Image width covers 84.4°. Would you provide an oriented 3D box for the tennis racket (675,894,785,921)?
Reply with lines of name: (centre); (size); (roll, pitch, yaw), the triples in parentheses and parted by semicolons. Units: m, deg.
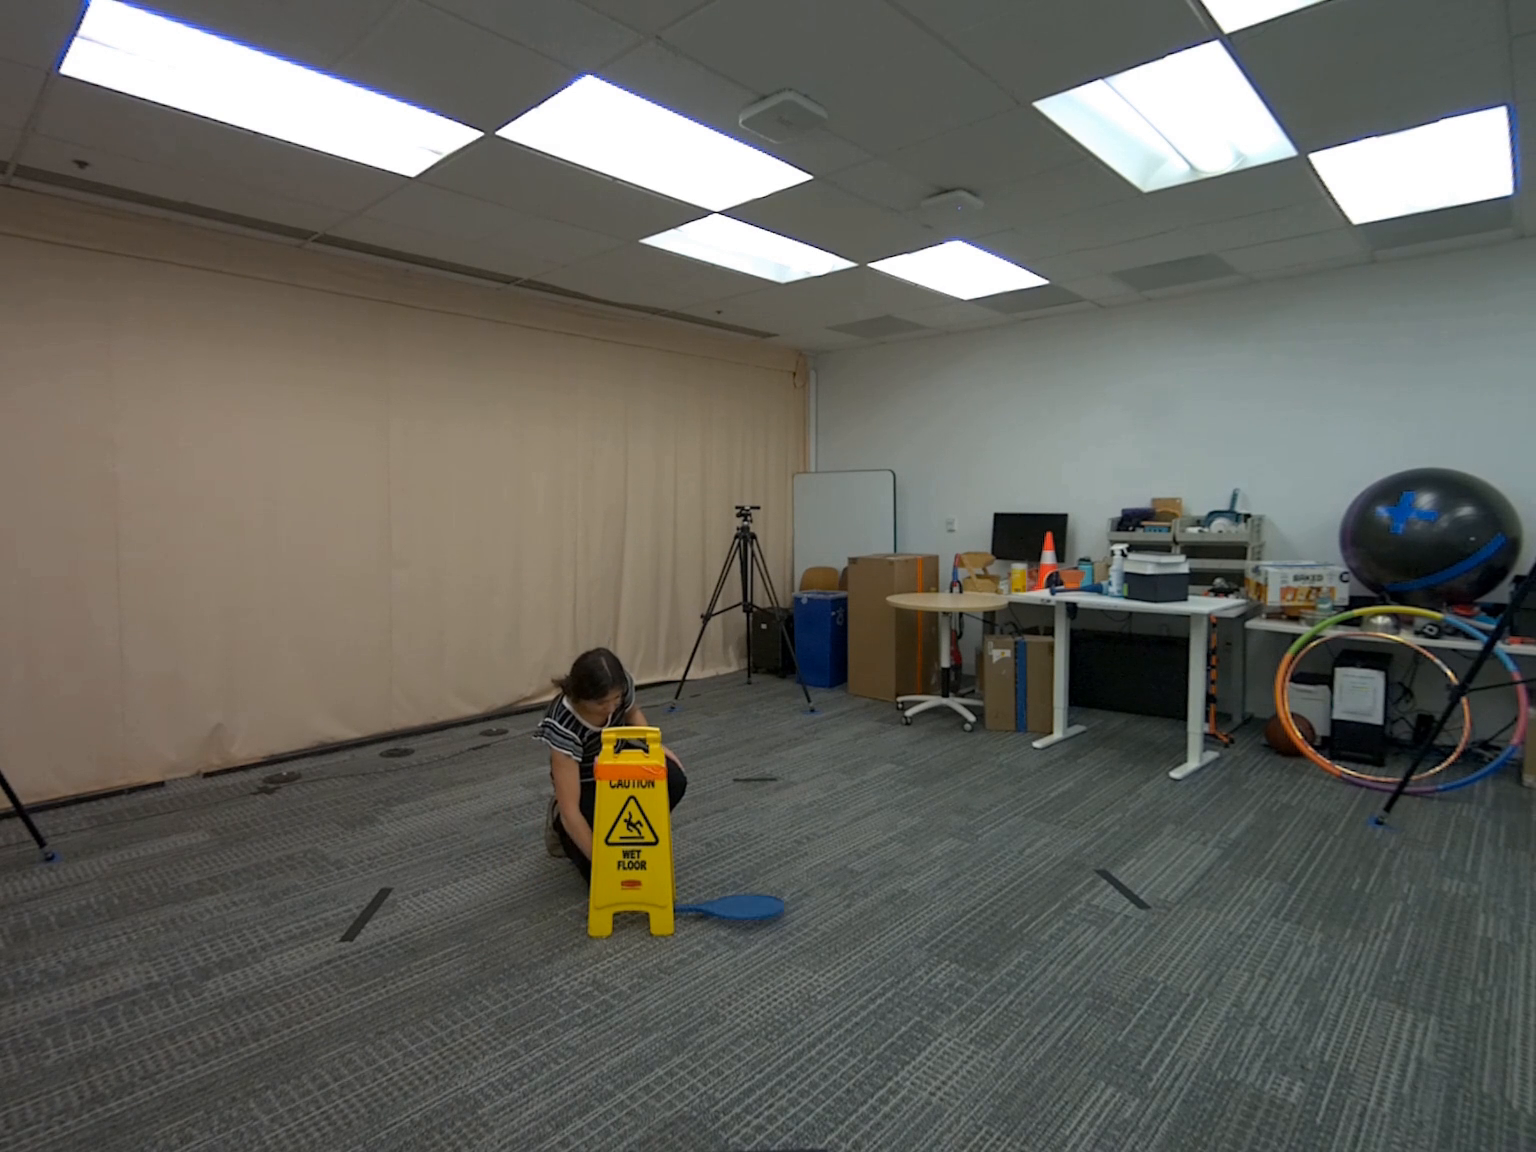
tennis racket: (-0.162, 1.130, 2.844); (0.433, 0.032, 0.213); (-1, -1, -1)
